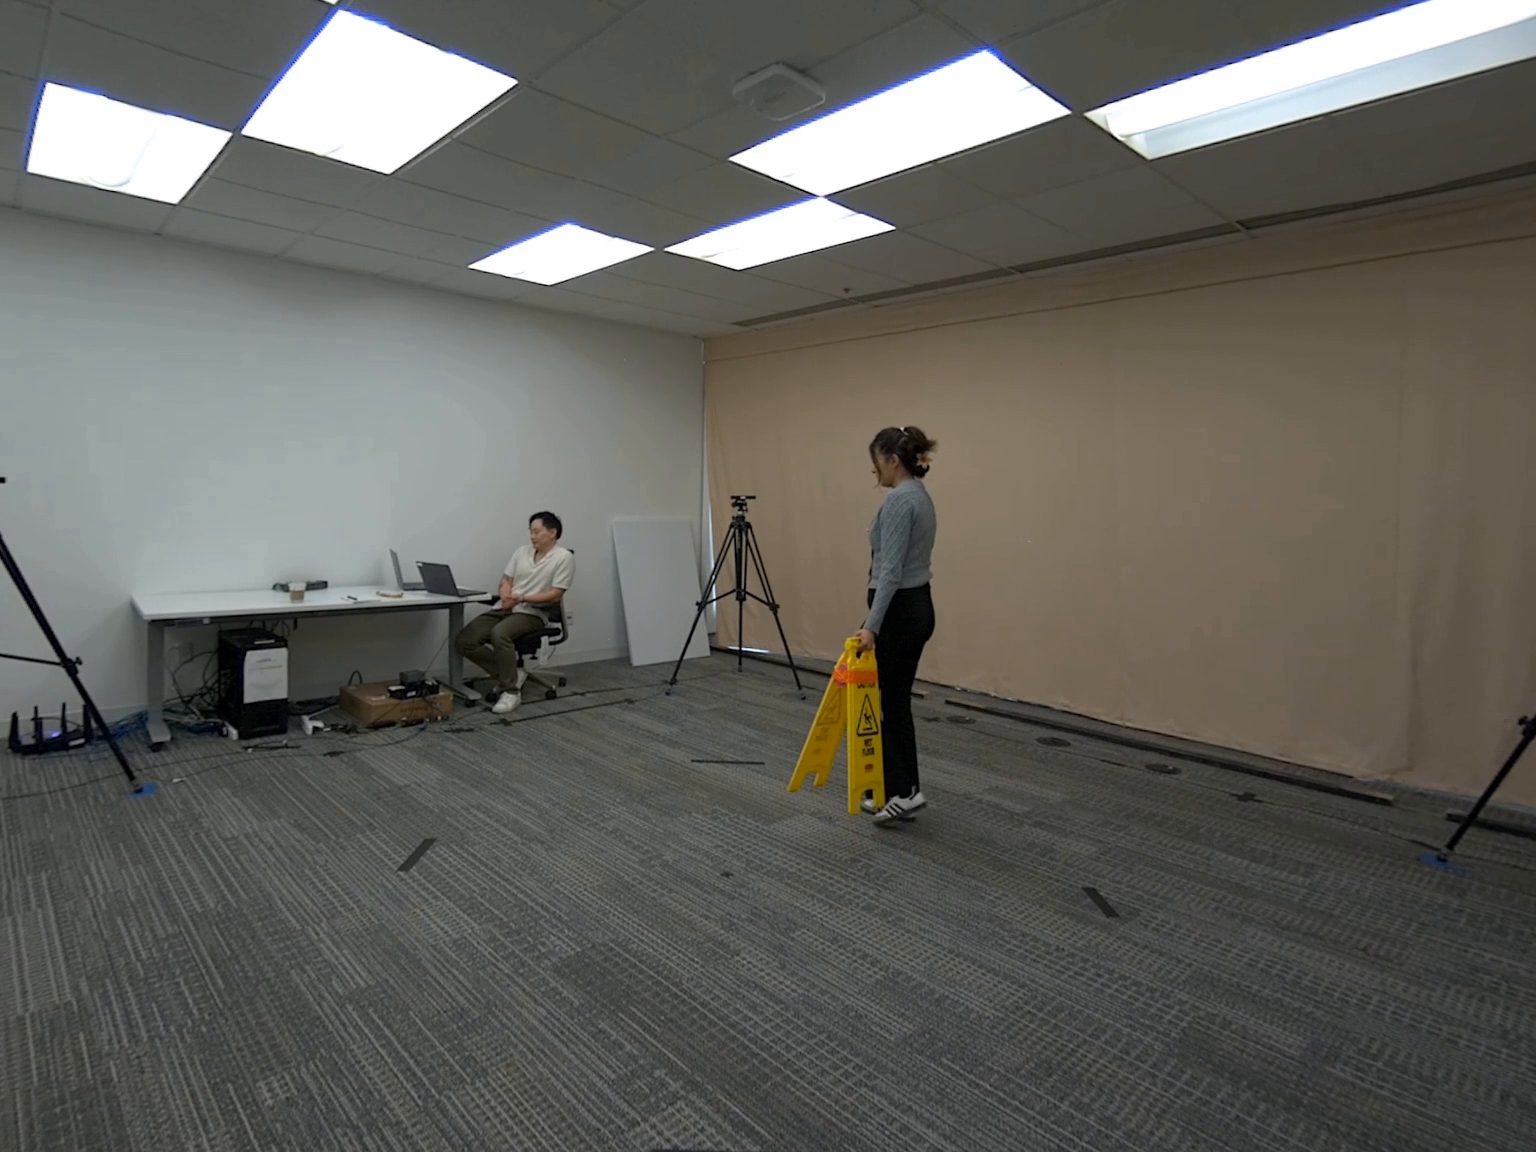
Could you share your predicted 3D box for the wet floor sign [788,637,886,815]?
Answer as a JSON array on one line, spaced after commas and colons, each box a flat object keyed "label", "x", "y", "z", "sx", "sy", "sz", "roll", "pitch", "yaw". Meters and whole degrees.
[{"label": "wet floor sign", "x": 0.307, "y": 0.567, "z": 3.341, "sx": 0.297, "sy": 0.646, "sz": 0.275, "roll": 8, "pitch": -2, "yaw": 37}]
